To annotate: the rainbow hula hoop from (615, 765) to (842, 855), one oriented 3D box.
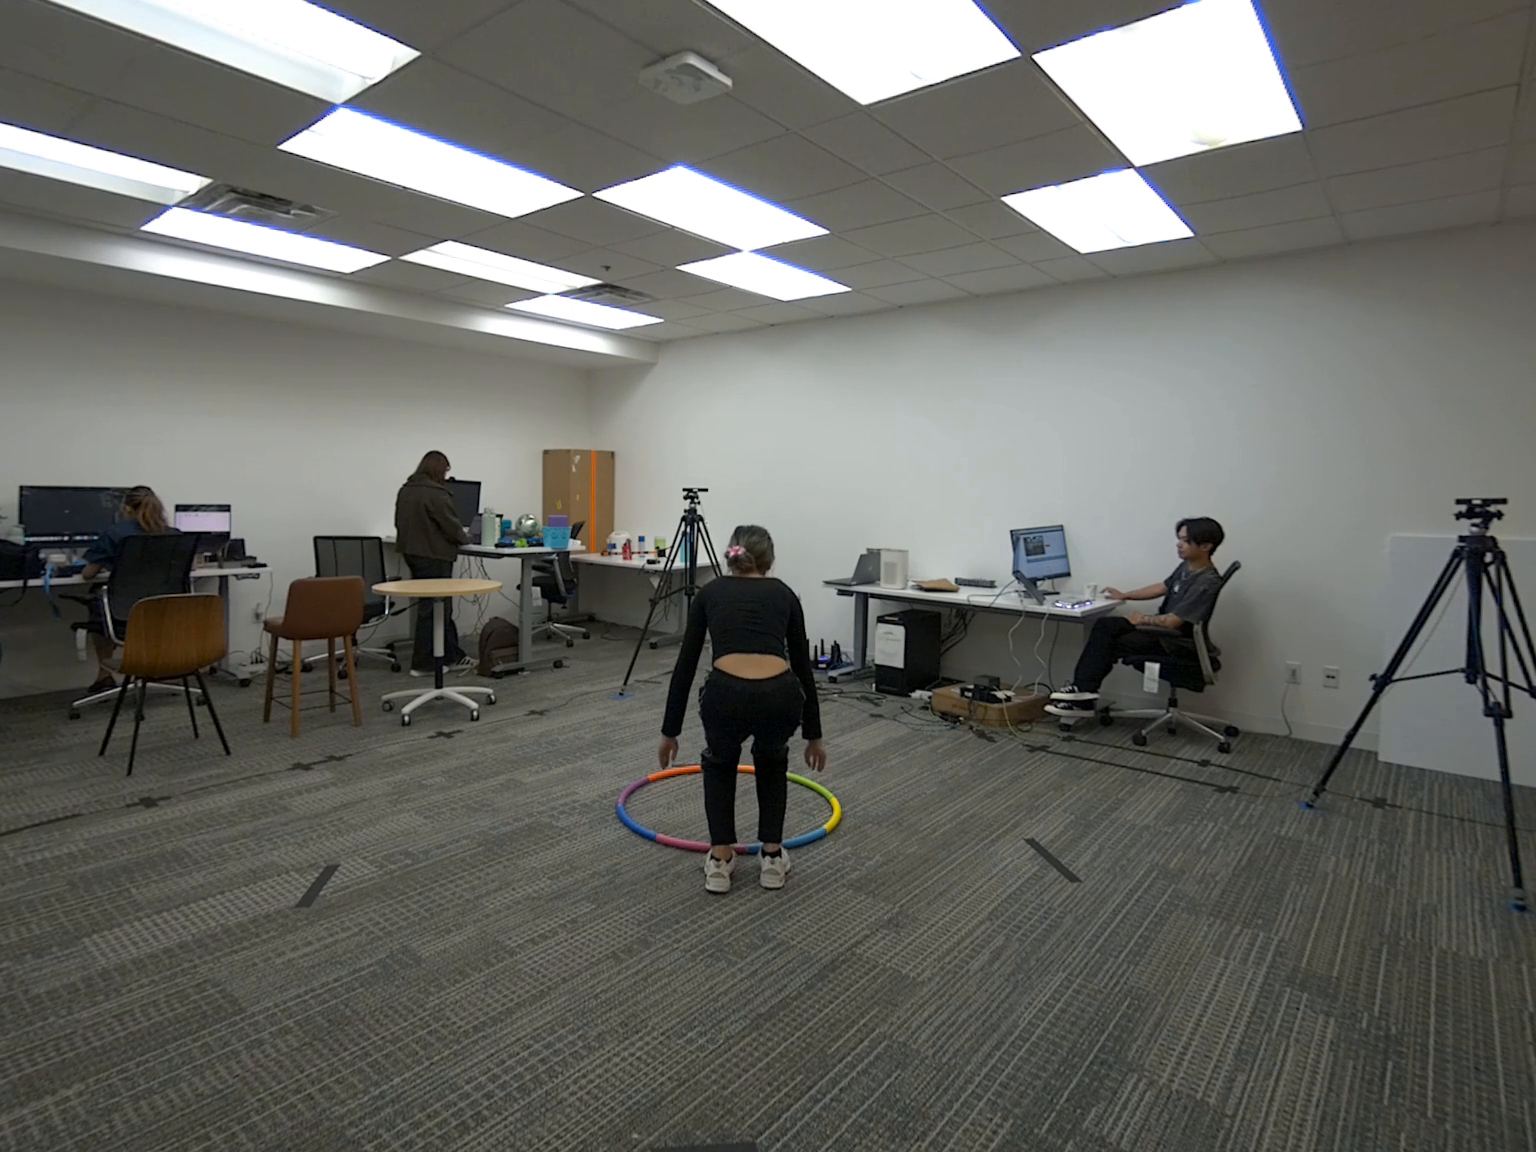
[{"bbox_3d":[-0.186,0.985,3.724,0.978,0.035,0.984,1,6,-2],"label":"rainbow hula hoop"}]
